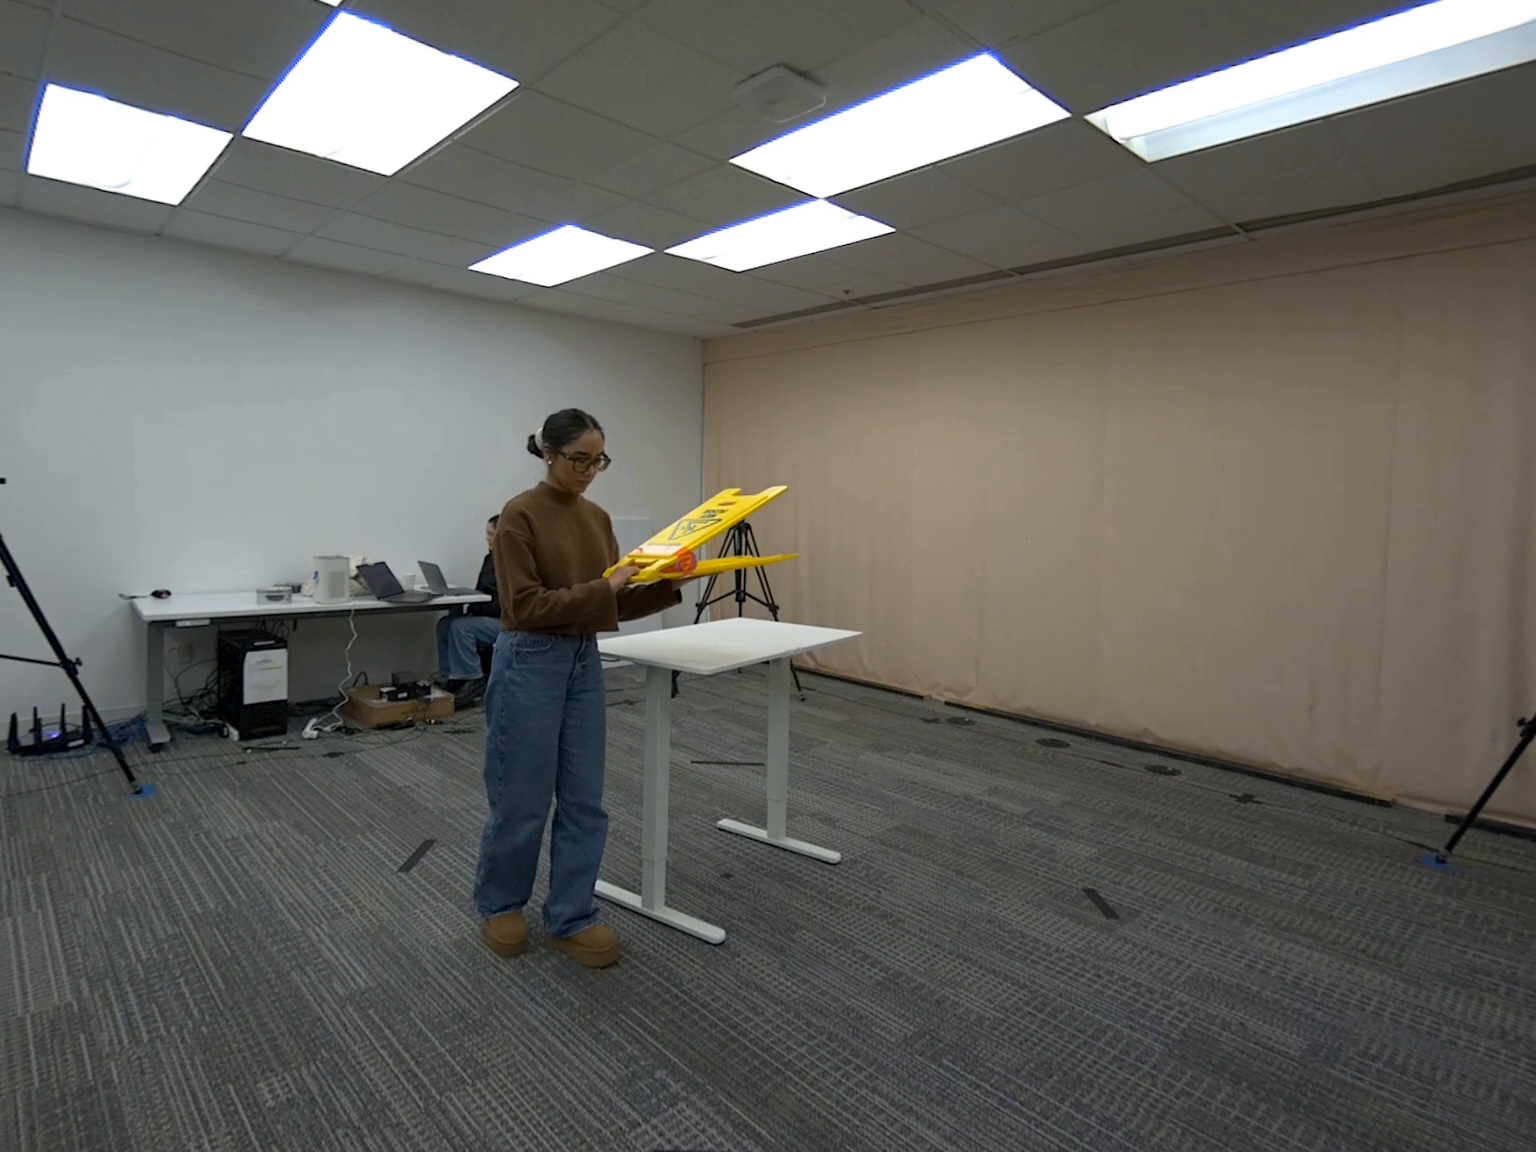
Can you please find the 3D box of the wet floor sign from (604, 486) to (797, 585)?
[{"bbox_3d":[-0.225,-0.078,2.628,0.289,0.287,0.637,-1,14,38],"label":"wet floor sign"}]
